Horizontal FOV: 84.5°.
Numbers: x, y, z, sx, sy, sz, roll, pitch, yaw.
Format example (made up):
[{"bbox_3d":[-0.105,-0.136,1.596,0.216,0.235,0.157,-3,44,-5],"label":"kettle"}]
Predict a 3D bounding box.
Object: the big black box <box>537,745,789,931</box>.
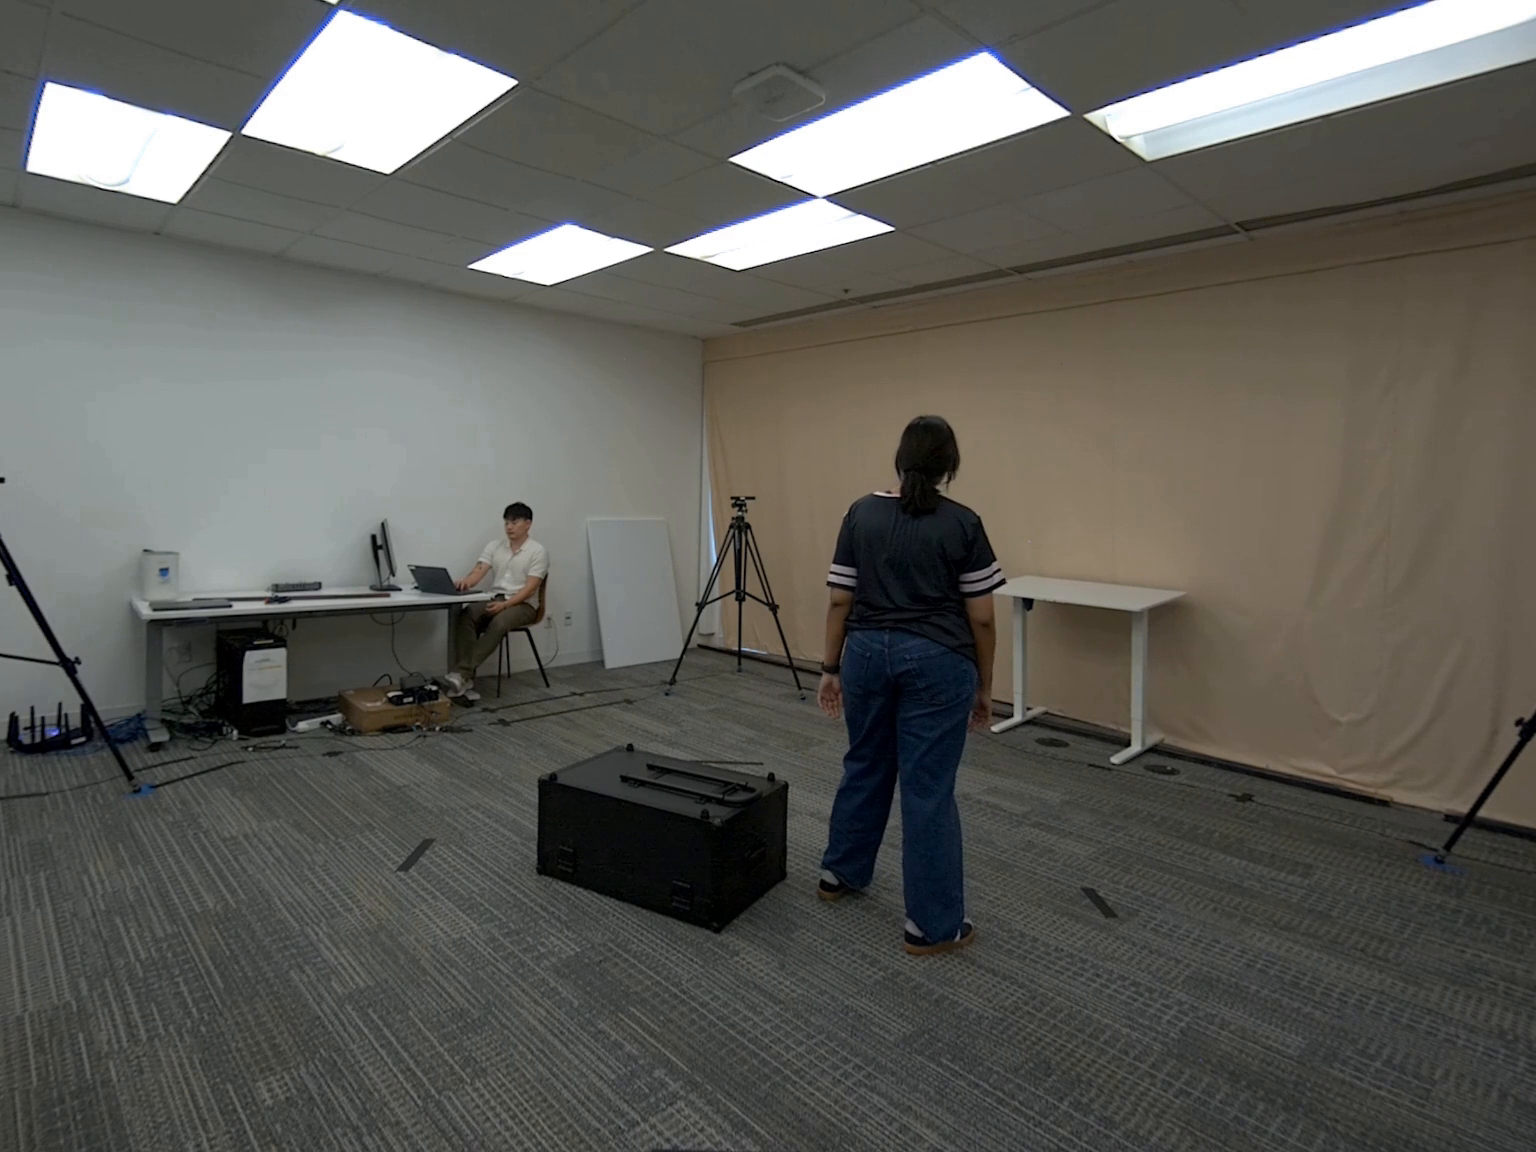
[{"bbox_3d":[-0.426,0.914,3.087,0.887,0.384,0.514,4,6,29],"label":"big black box"}]
